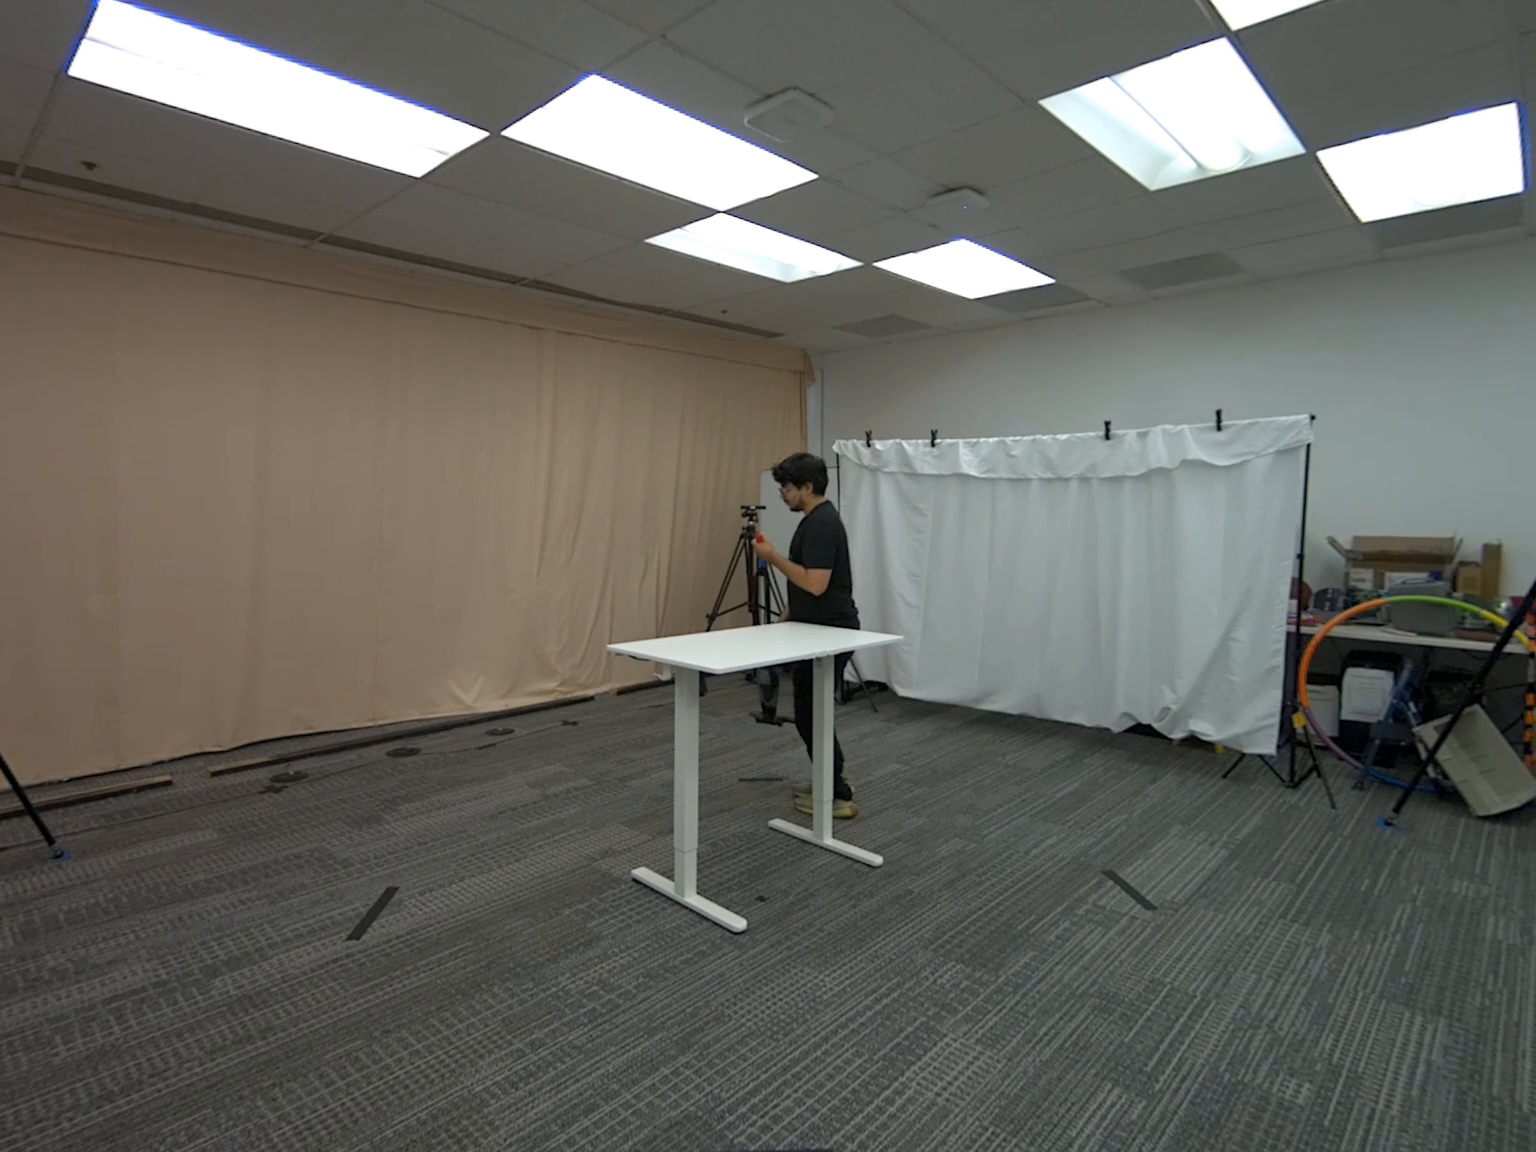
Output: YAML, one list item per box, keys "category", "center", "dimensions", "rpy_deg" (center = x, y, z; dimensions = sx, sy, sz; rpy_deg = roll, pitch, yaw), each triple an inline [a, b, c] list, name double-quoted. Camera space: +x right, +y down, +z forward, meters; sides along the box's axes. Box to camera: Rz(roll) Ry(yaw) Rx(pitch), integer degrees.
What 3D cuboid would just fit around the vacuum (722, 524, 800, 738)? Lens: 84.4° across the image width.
- category: "vacuum"
  center: [-0.013, 0.268, 3.916]
  dimensions: [0.259, 1.029, 0.143]
  rpy_deg: [10, 33, 25]
